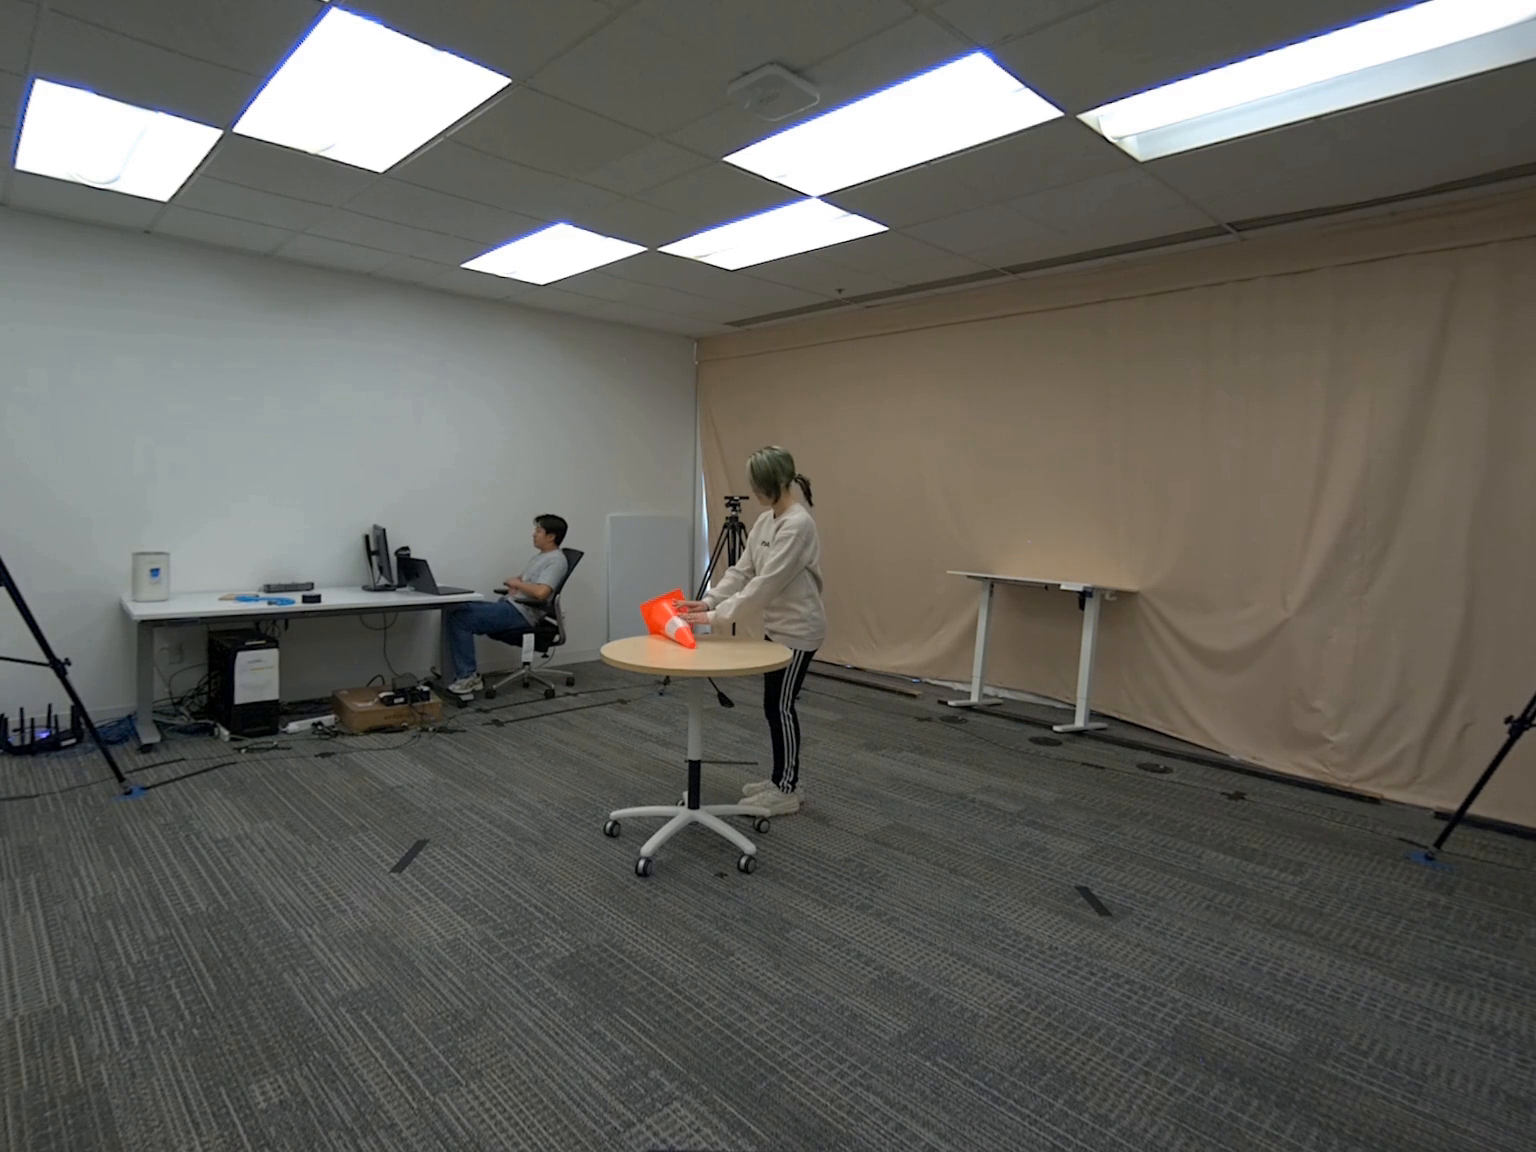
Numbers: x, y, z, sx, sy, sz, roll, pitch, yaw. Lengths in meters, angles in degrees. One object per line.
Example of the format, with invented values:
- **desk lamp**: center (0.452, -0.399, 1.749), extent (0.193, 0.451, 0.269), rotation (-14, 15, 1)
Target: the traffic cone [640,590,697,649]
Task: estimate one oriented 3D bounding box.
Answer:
- **traffic cone**: center (-0.384, 0.230, 3.543), extent (0.203, 0.200, 0.394), rotation (-13, 21, -18)
